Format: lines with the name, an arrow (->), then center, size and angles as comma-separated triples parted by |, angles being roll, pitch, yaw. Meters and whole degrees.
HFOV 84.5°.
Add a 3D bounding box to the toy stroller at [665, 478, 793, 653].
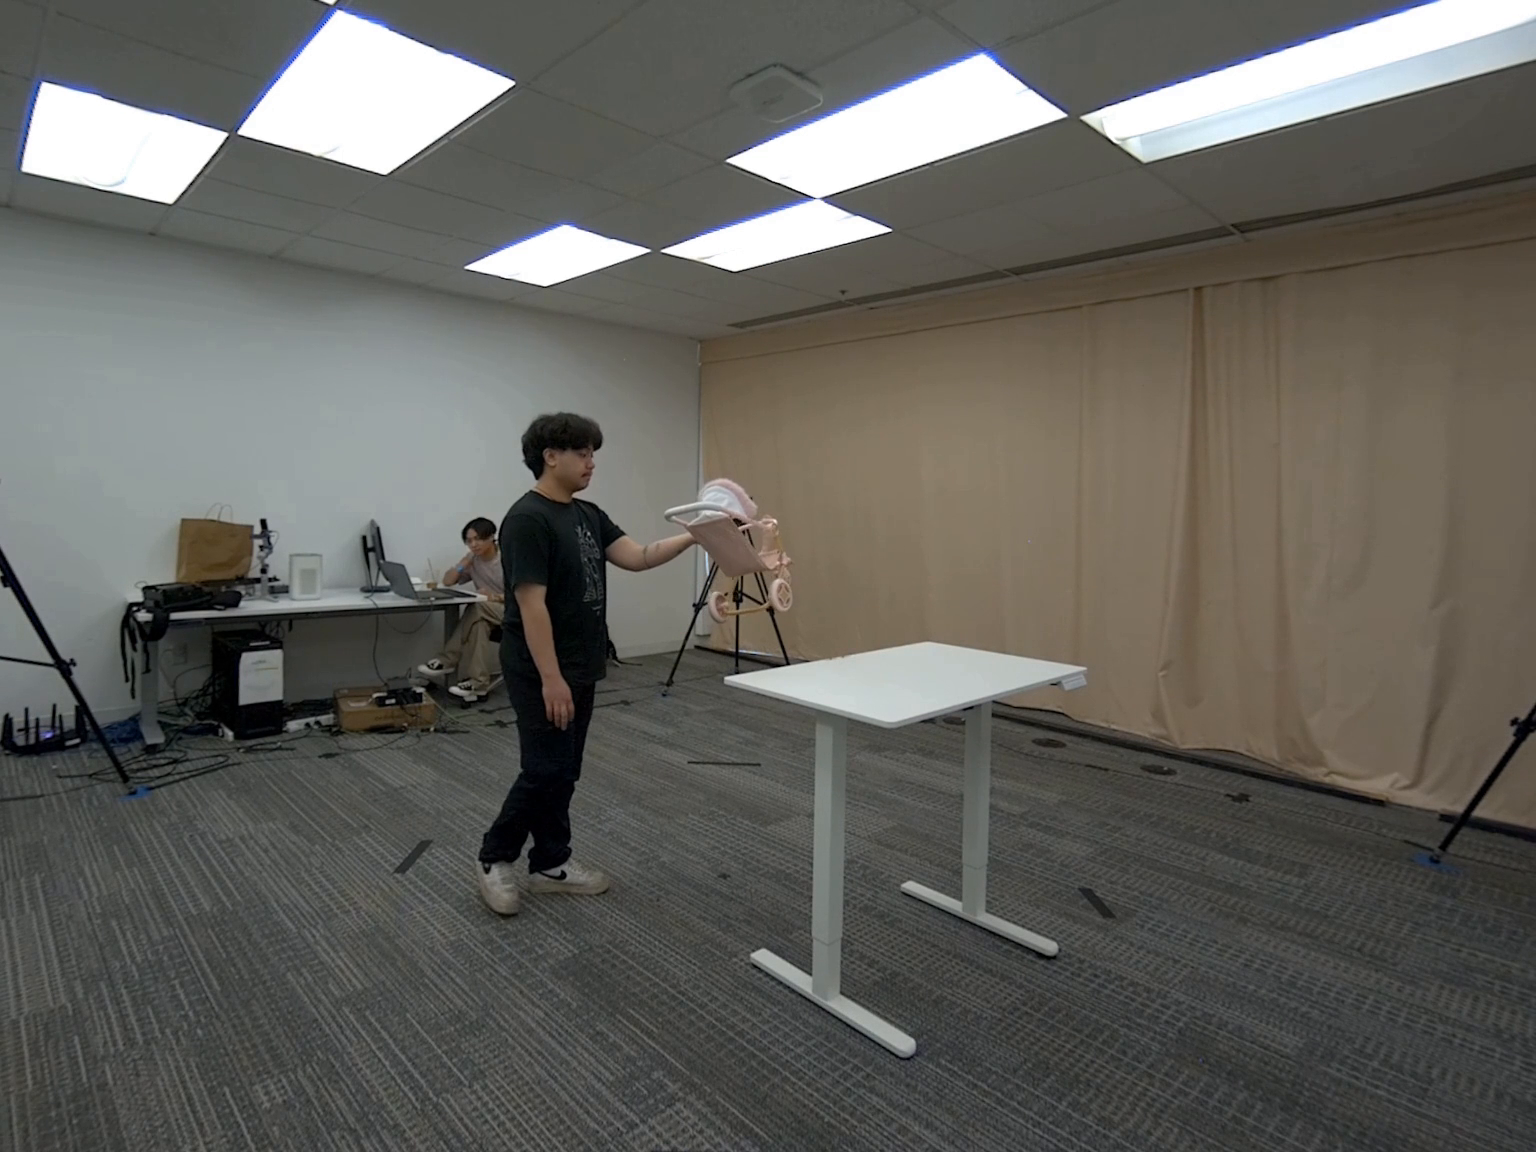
toy stroller -> -0.097, -0.099, 2.816 | 0.287, 0.523, 0.342 | -10, 30, 37
